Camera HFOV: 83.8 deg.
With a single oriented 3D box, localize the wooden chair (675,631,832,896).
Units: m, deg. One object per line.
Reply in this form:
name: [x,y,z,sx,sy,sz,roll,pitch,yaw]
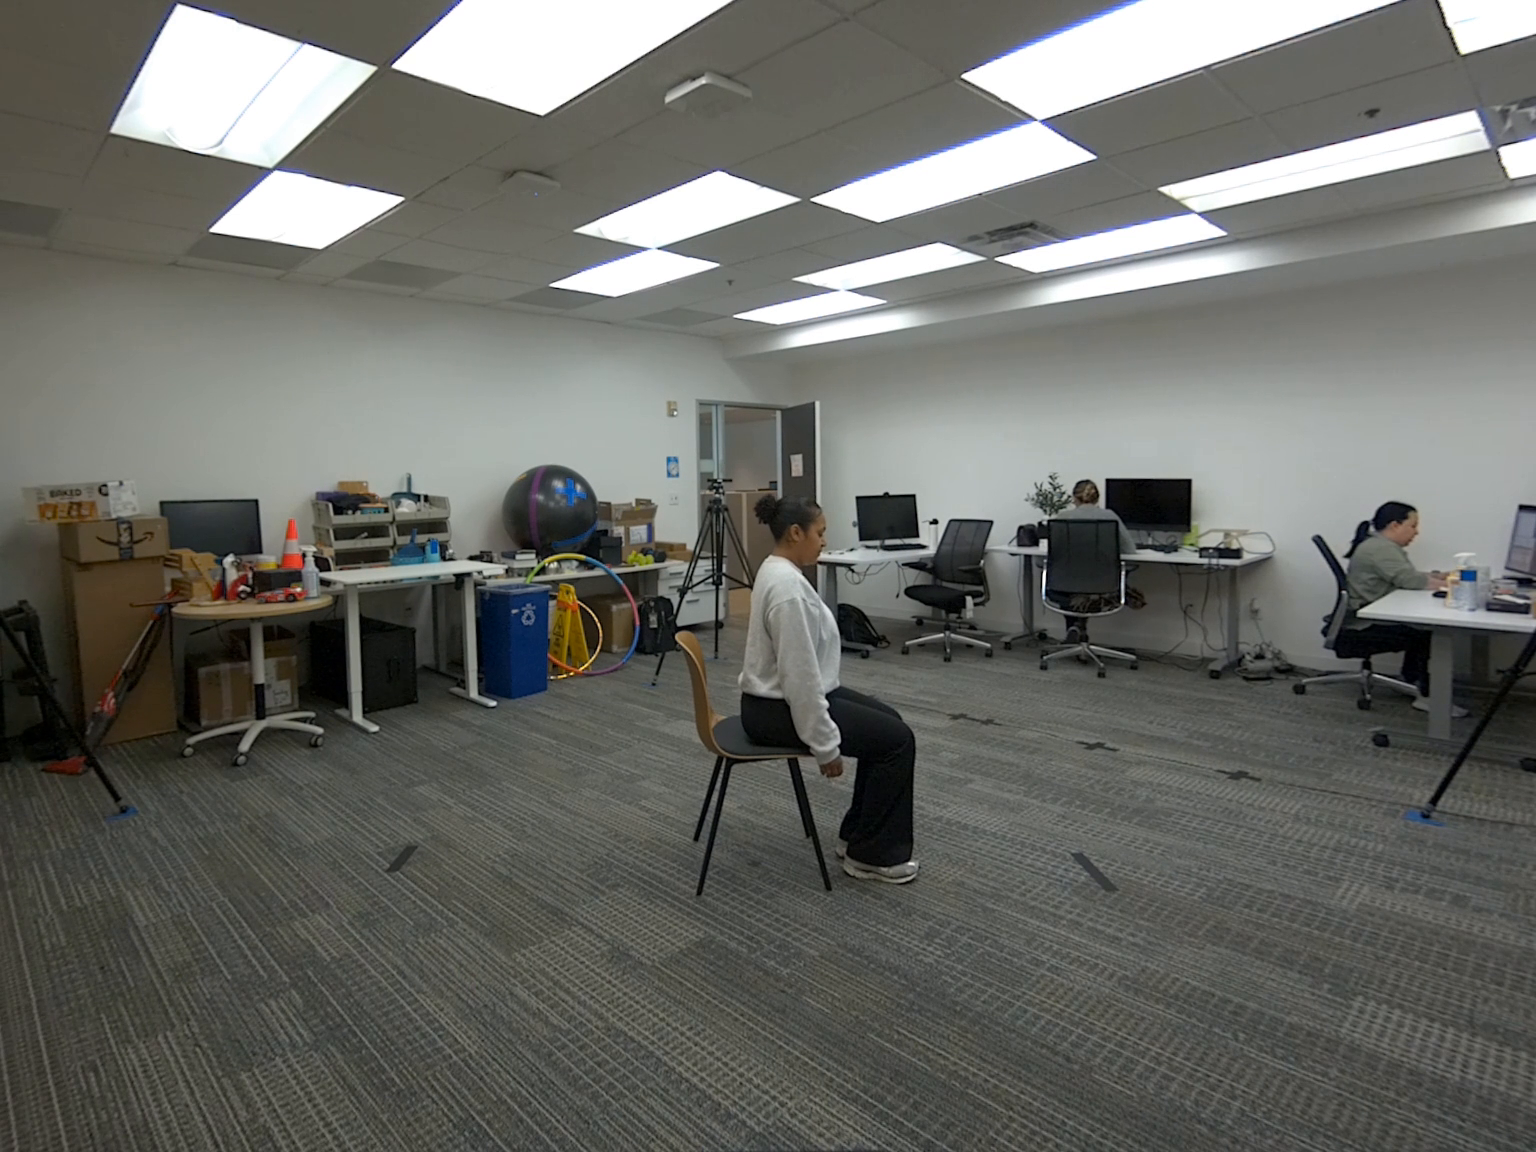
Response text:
wooden chair: [-0.033,0.621,3.070,0.521,0.874,0.482,-5,4,-5]
